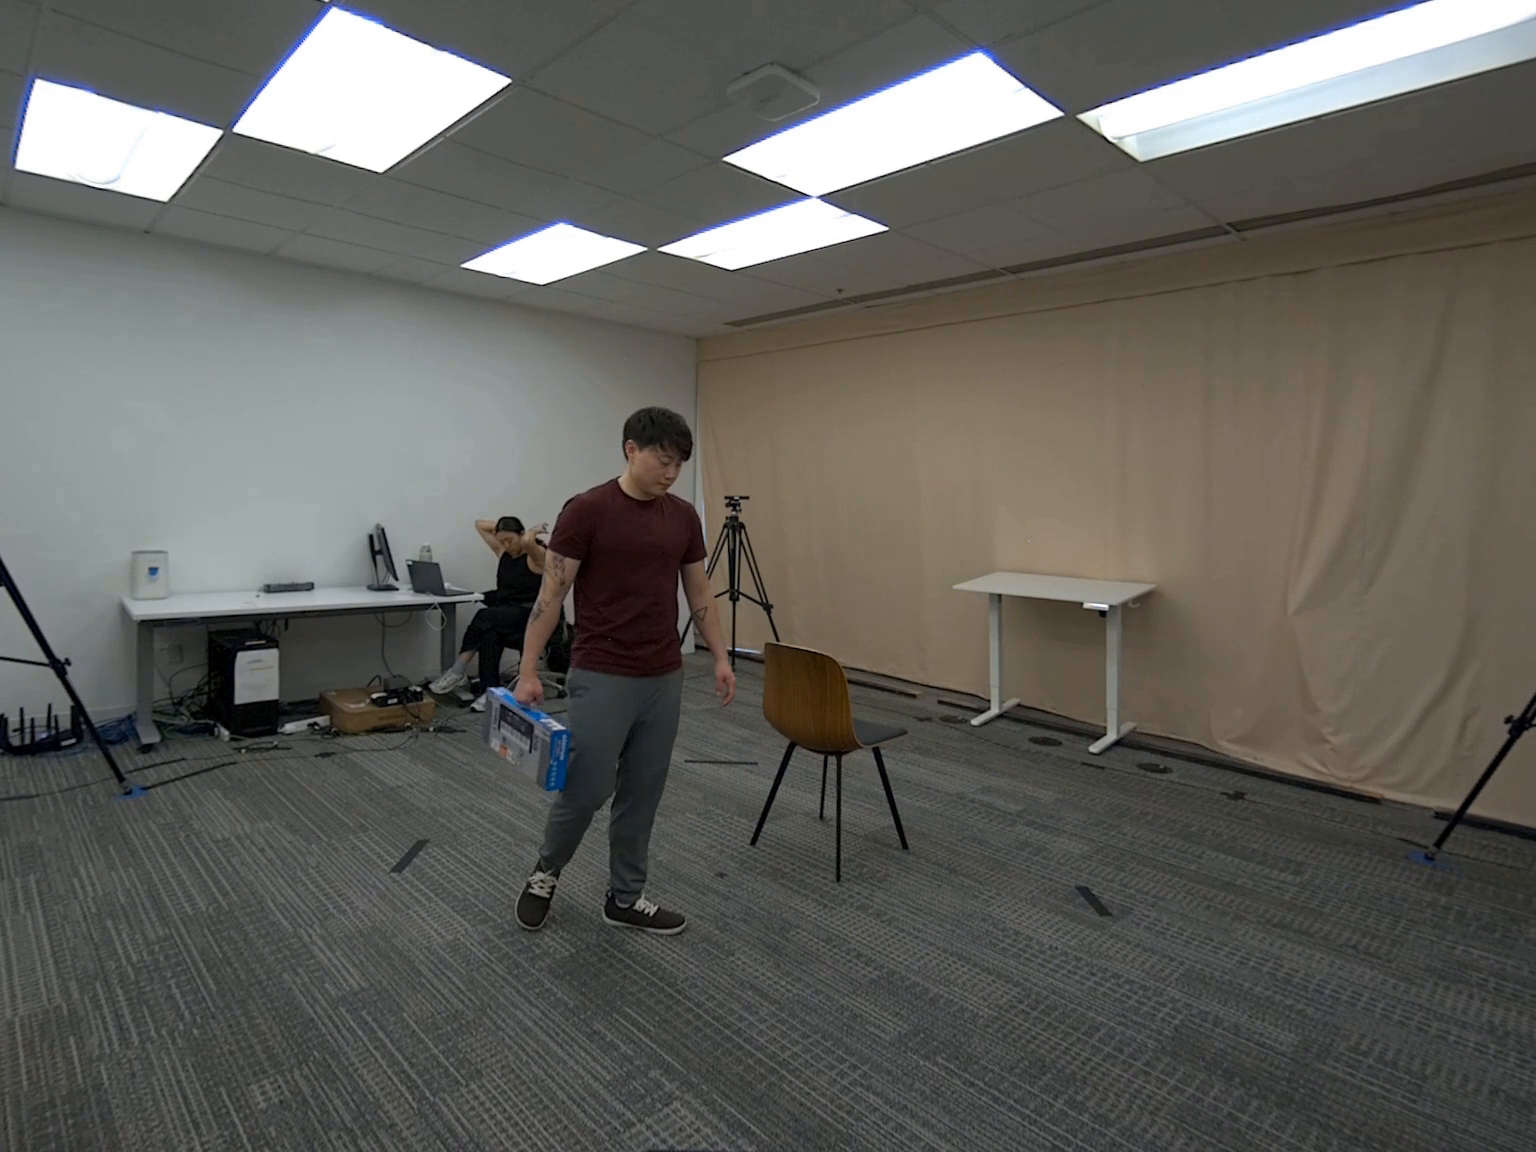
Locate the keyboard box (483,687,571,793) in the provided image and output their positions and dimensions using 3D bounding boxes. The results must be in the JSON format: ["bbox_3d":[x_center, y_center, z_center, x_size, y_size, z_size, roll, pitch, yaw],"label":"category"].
[{"bbox_3d":[-0.725,0.480,2.488,0.057,0.175,0.449,4,7,-42],"label":"keyboard box"}]
